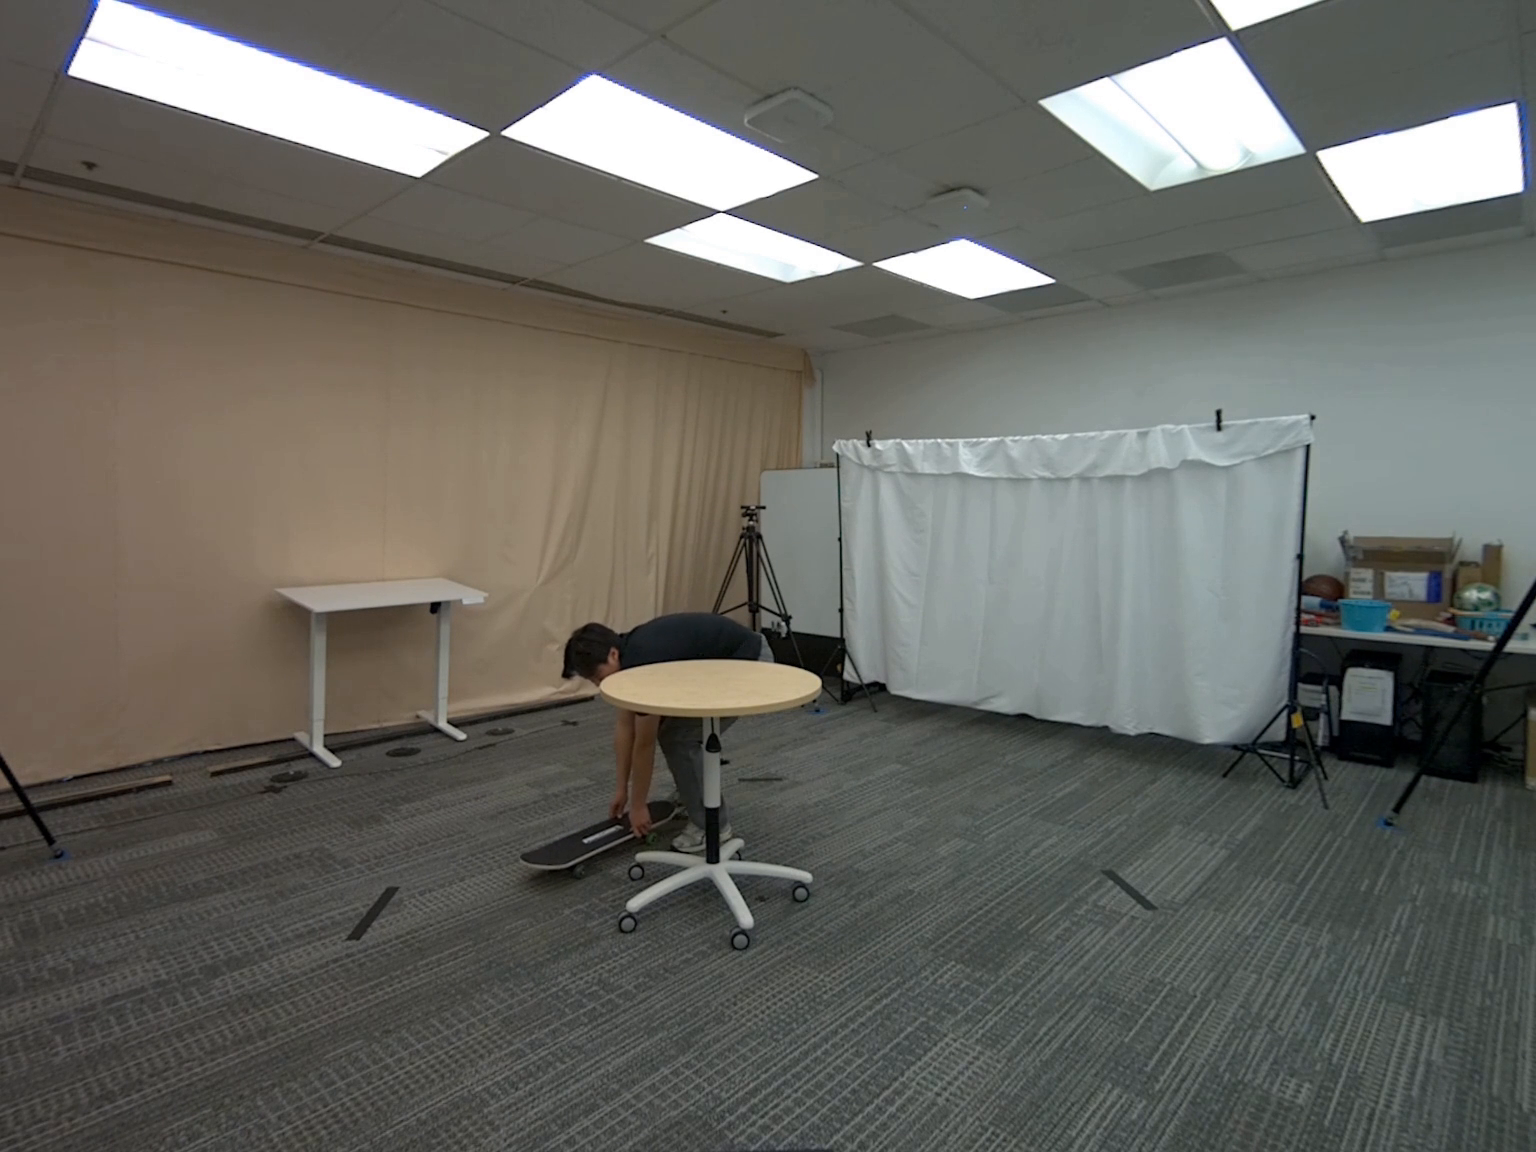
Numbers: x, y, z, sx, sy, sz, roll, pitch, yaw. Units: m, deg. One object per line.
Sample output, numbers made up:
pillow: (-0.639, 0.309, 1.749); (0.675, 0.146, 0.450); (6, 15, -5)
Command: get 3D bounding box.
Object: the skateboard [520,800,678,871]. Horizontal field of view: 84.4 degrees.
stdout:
skateboard: (-0.669, 1.071, 3.358); (0.200, 0.110, 0.762); (3, 5, 36)
